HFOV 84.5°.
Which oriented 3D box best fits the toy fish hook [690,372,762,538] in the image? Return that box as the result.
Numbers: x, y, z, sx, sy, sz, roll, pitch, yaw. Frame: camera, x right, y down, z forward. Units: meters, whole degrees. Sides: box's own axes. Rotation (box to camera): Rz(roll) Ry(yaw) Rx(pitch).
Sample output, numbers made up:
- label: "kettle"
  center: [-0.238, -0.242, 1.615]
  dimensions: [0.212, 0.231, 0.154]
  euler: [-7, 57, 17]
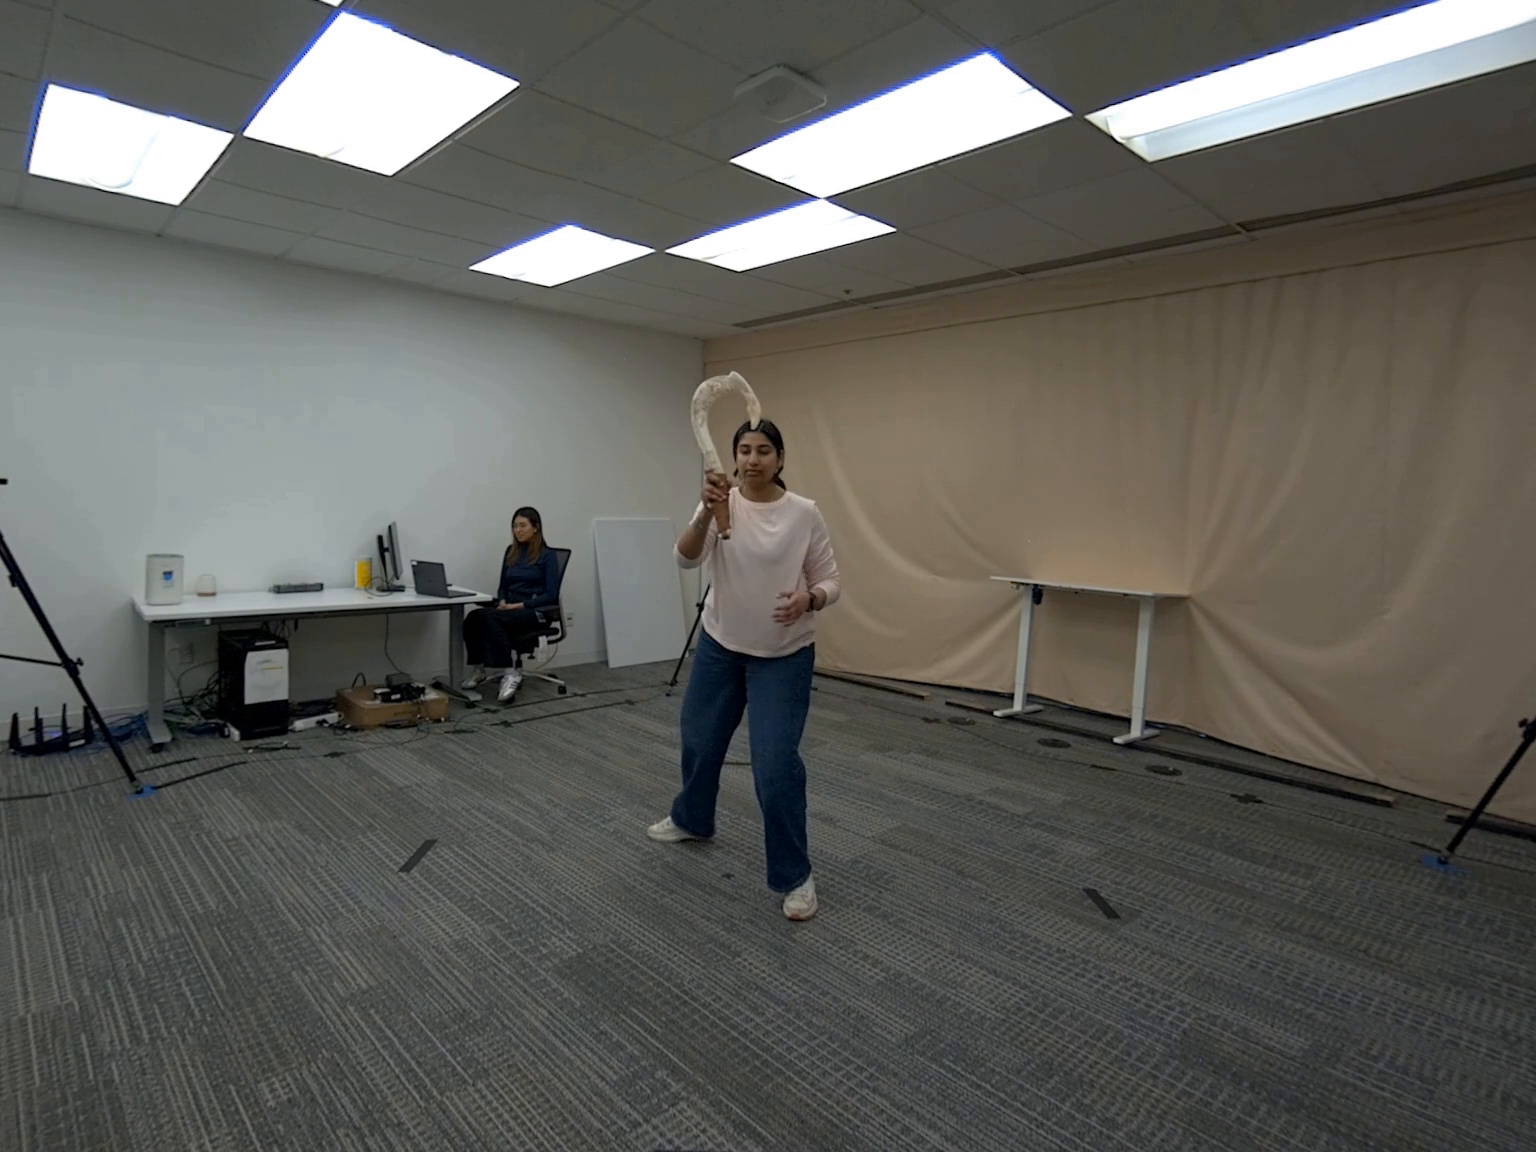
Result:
- label: "toy fish hook"
  center: [-0.113, -0.359, 2.524]
  dimensions: [0.228, 0.511, 0.047]
  euler: [-13, -10, 24]
